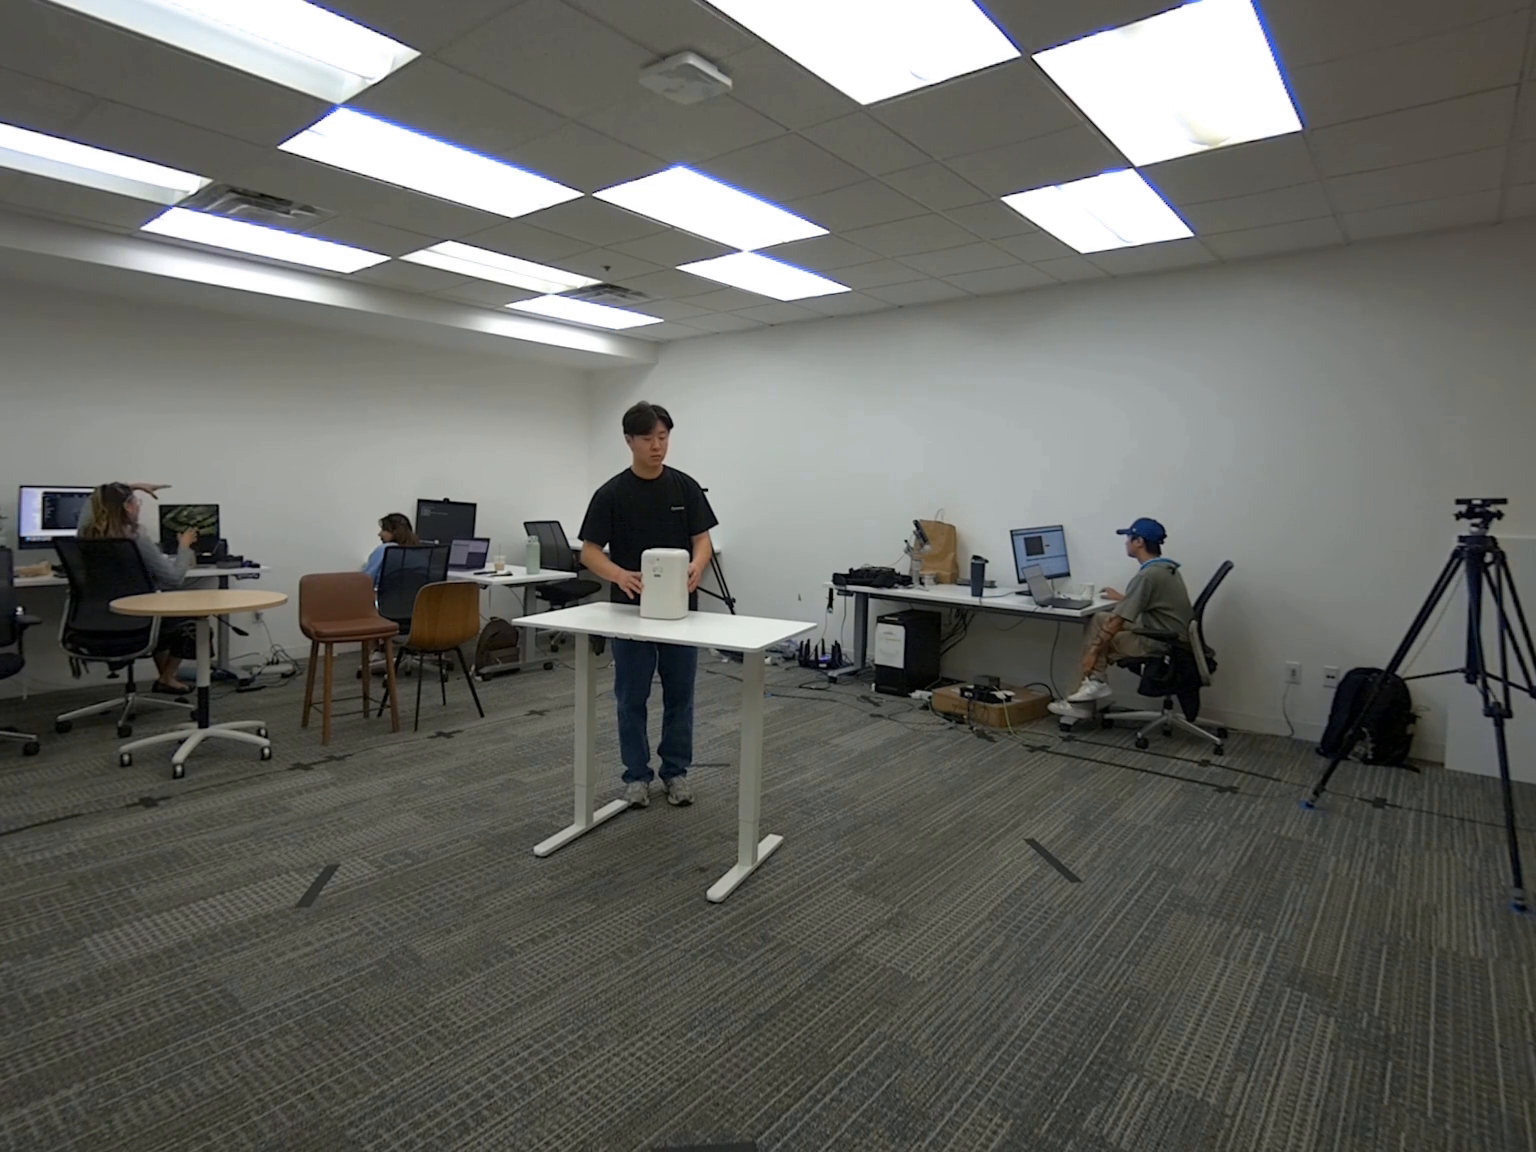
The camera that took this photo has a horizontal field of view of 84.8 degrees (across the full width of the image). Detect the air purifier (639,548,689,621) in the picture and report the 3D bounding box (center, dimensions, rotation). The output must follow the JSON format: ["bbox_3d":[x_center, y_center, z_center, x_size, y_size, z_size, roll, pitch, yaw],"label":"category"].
[{"bbox_3d":[-0.418,0.023,3.359,0.174,0.264,0.170,2,5,14],"label":"air purifier"}]
